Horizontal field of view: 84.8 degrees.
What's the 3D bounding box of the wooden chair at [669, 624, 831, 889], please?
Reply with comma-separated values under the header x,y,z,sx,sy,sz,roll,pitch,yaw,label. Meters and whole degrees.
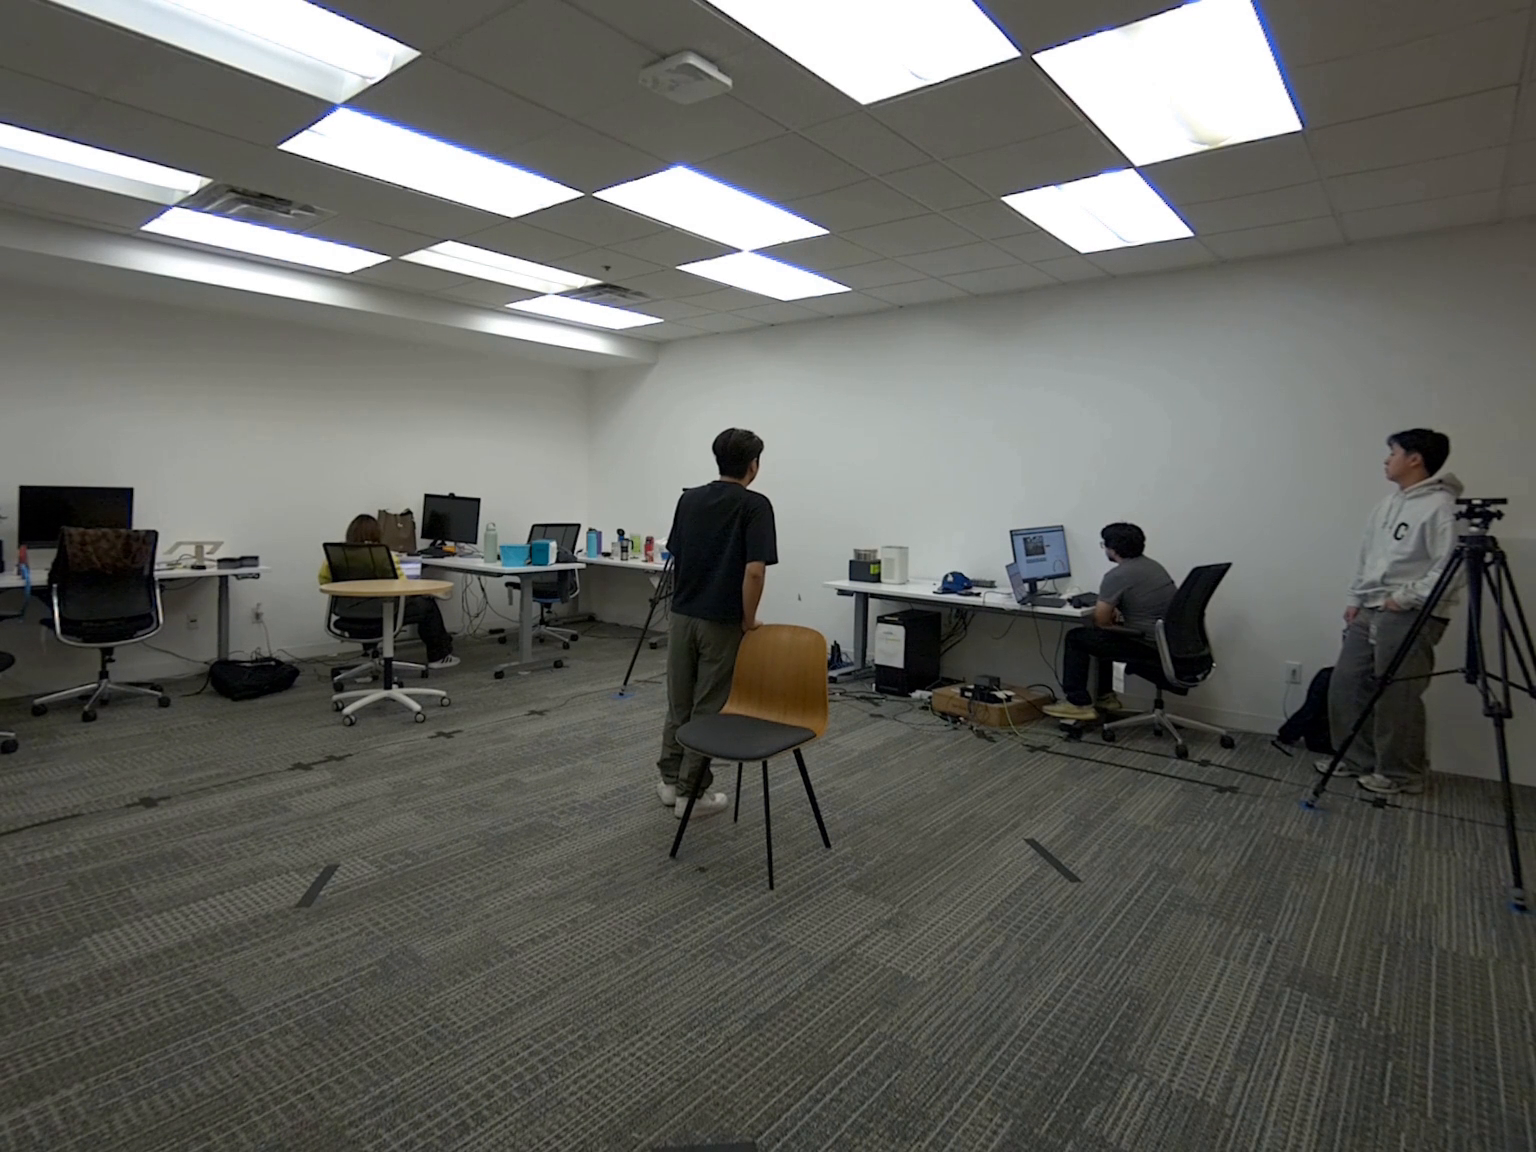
x,y,z,sx,sy,sz,roll,pitch,yaw,label
-0.060,0.634,3.229,0.493,0.878,0.507,3,0,33,wooden chair
